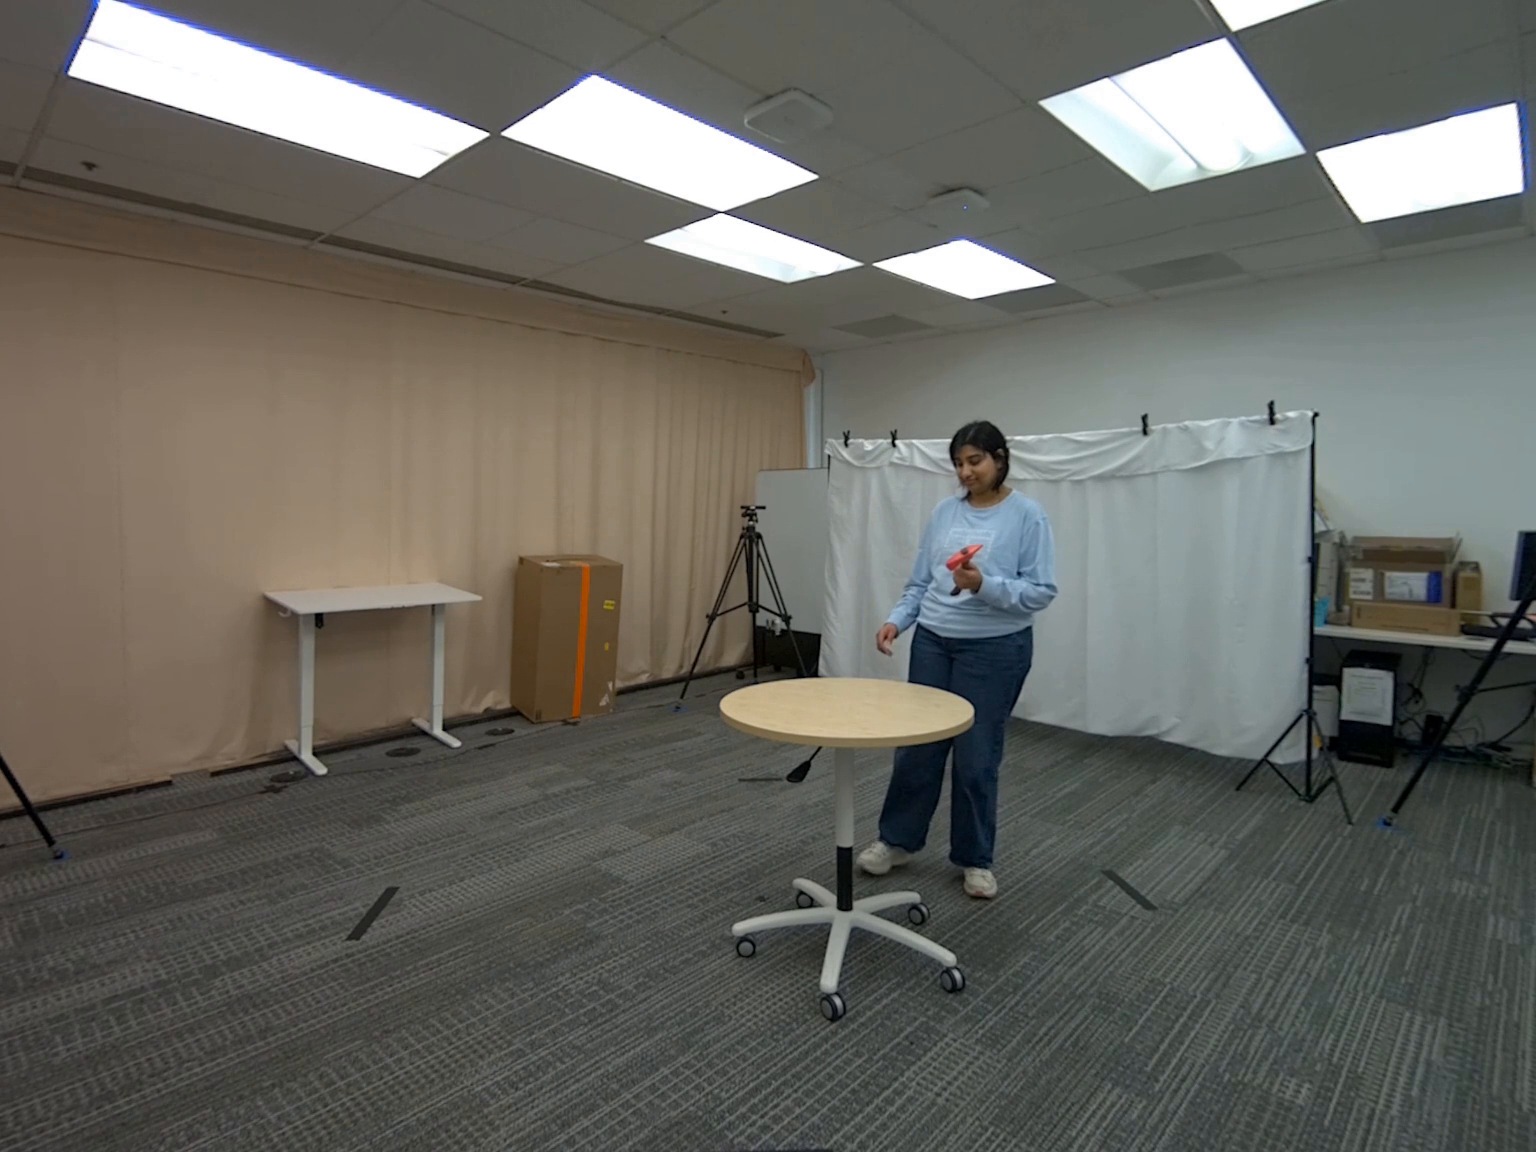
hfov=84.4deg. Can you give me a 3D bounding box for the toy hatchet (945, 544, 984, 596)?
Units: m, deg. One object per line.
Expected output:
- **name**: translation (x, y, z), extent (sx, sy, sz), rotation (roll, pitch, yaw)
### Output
- **toy hatchet**: translation (0.628, -0.005, 2.761), extent (0.129, 0.030, 0.266), rotation (-20, -33, -19)
